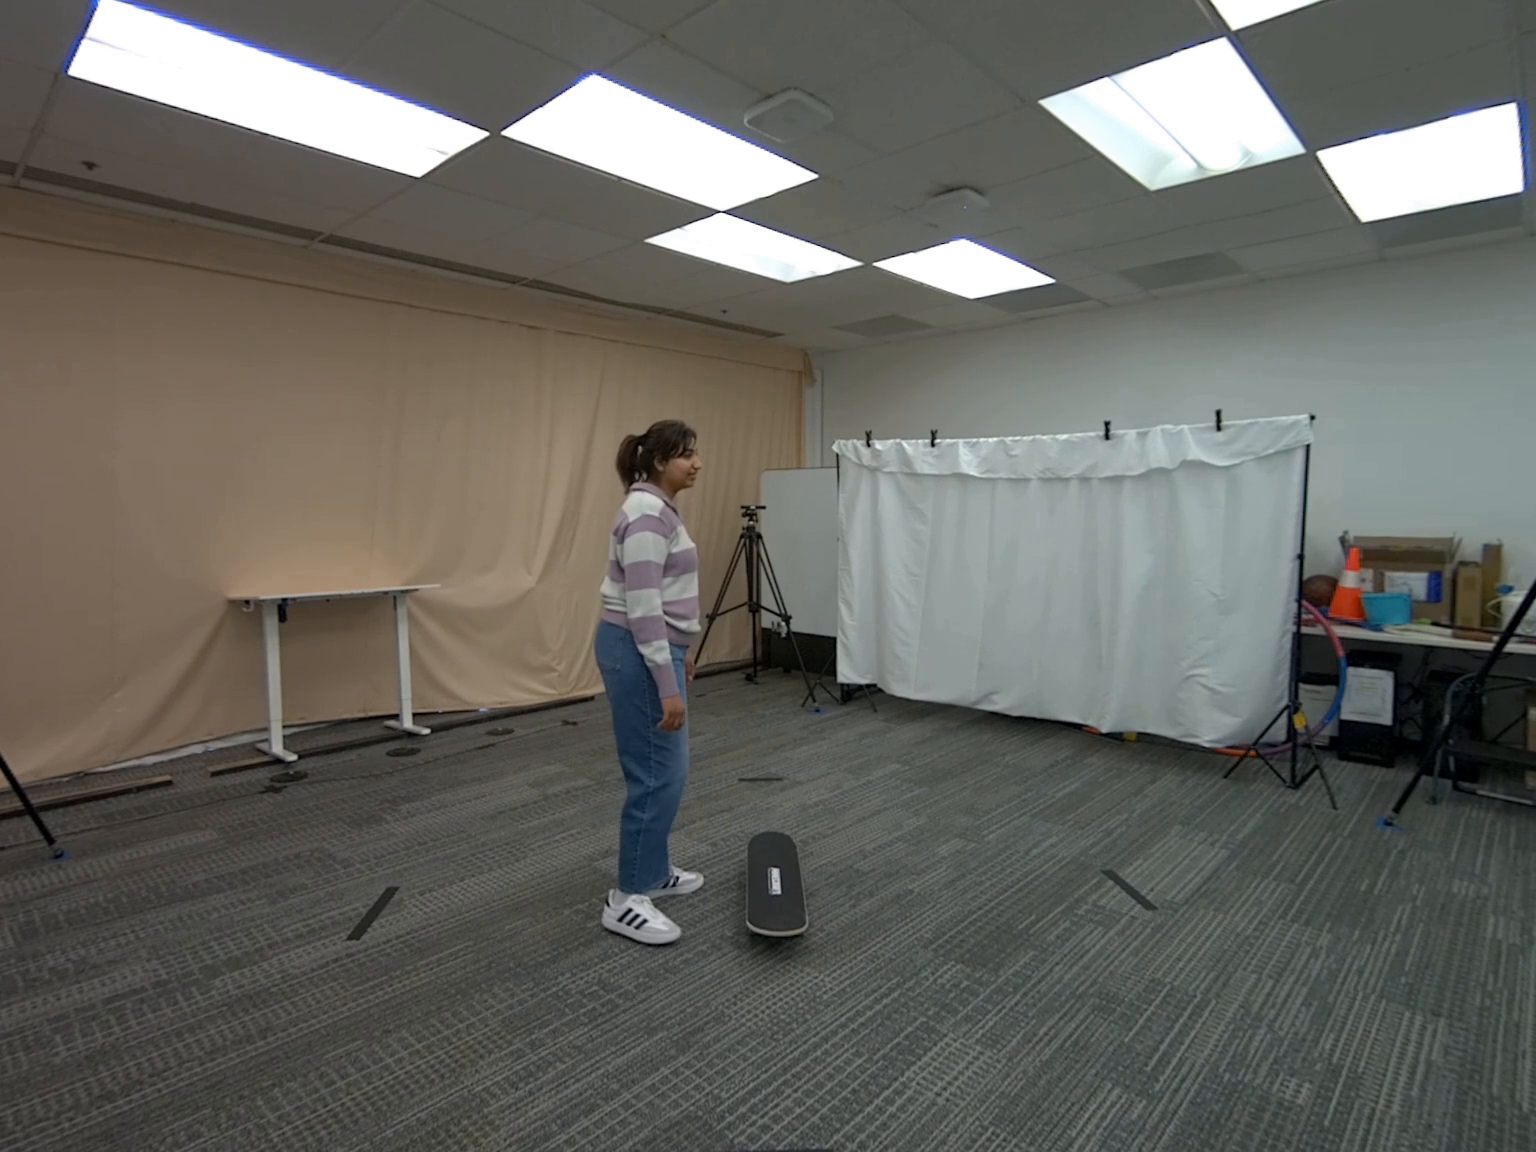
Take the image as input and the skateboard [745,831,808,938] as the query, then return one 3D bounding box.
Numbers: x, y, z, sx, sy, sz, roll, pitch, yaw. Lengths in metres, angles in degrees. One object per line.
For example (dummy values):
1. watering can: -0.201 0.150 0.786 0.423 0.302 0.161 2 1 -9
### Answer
1. skateboard: 0.028 1.088 2.927 0.194 0.110 0.787 0 5 -1
